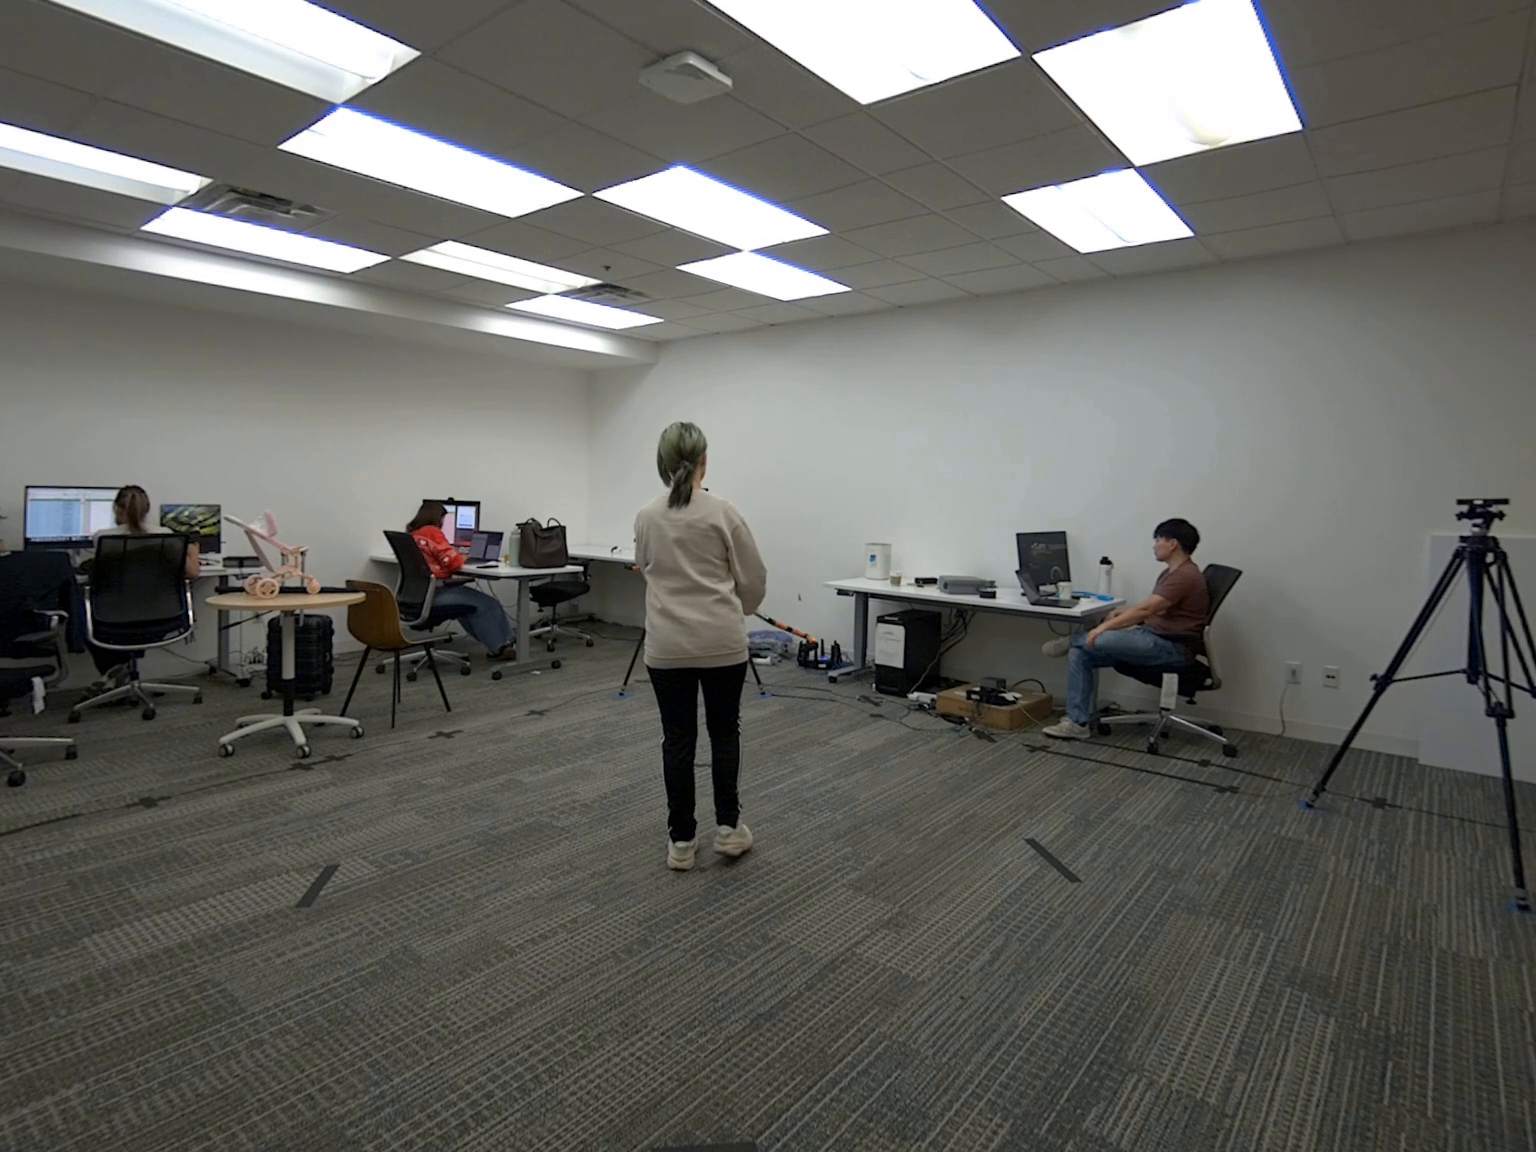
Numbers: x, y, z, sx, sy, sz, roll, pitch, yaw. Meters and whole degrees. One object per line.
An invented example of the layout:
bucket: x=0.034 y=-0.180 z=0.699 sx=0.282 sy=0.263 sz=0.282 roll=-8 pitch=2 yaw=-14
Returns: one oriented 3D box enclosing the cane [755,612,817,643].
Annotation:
cane: x=-0.181 y=0.093 z=3.519 sx=0.940 sy=0.151 sz=0.200 roll=28 pitch=13 yaw=27
